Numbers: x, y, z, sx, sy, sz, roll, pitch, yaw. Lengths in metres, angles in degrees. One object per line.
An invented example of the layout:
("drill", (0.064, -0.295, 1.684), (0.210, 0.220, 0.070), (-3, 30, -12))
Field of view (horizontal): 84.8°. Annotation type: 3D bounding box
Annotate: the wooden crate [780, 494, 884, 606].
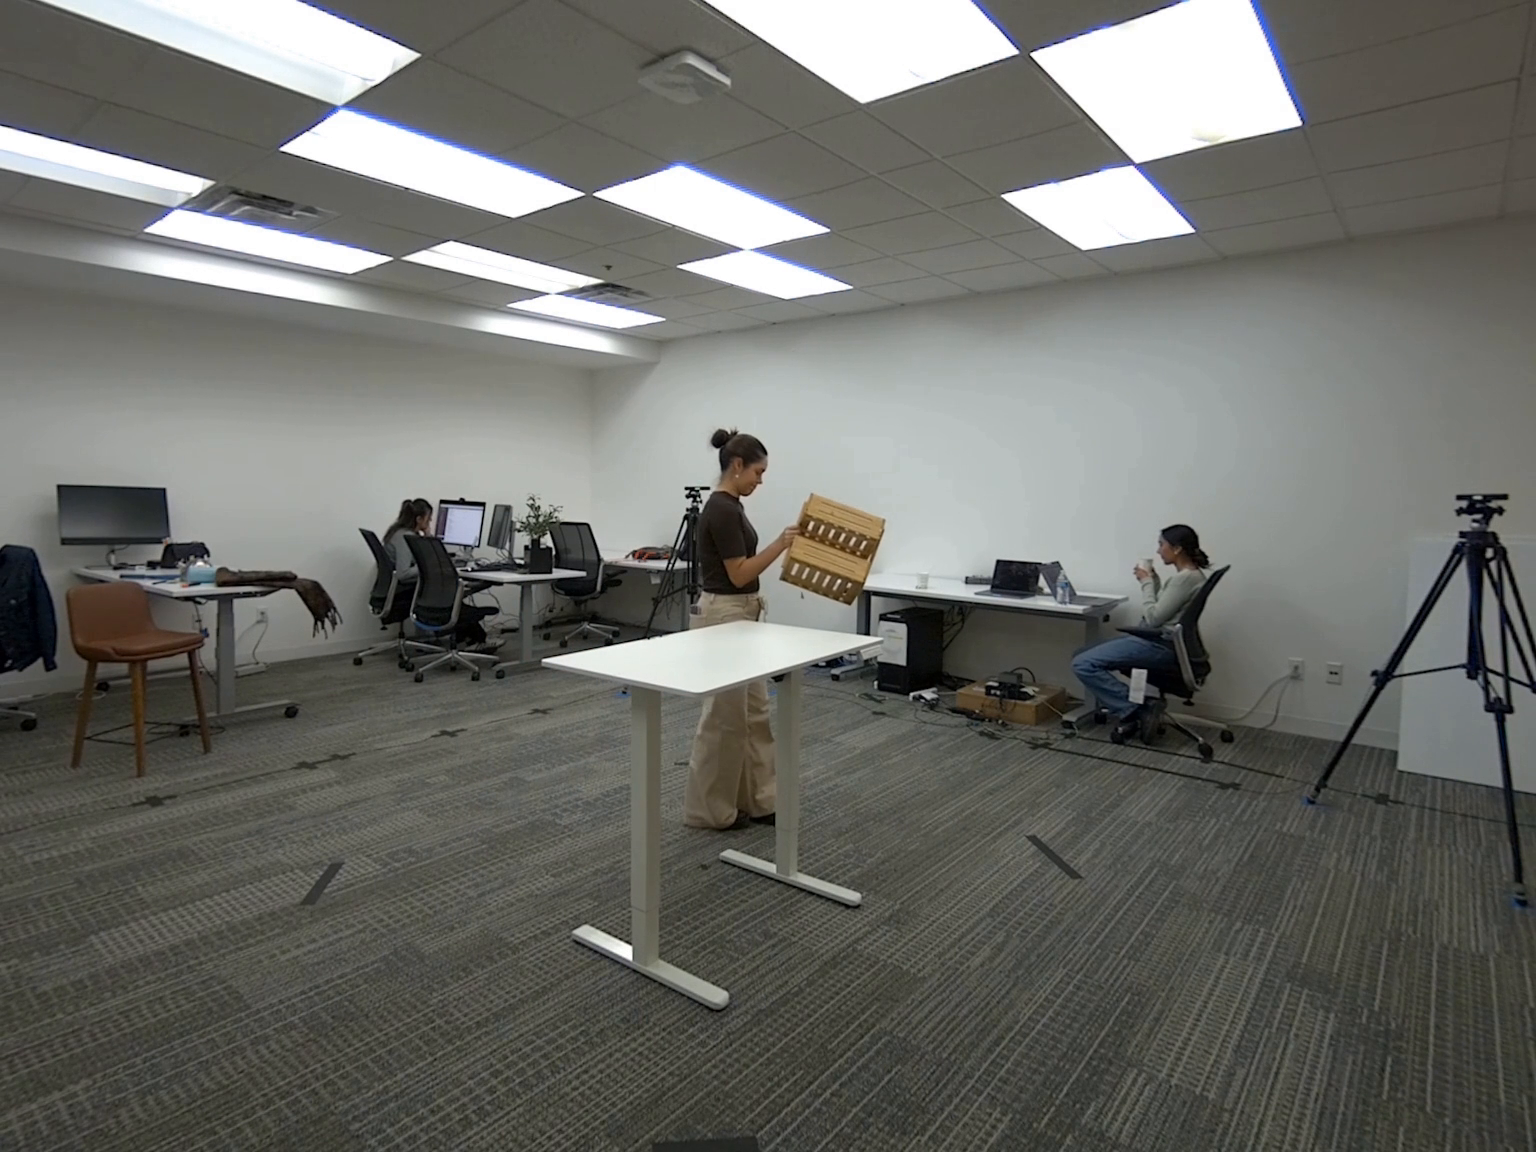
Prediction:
("wooden crate", (0.237, -0.101, 3.325), (0.326, 0.276, 0.297), (21, -26, 2))
